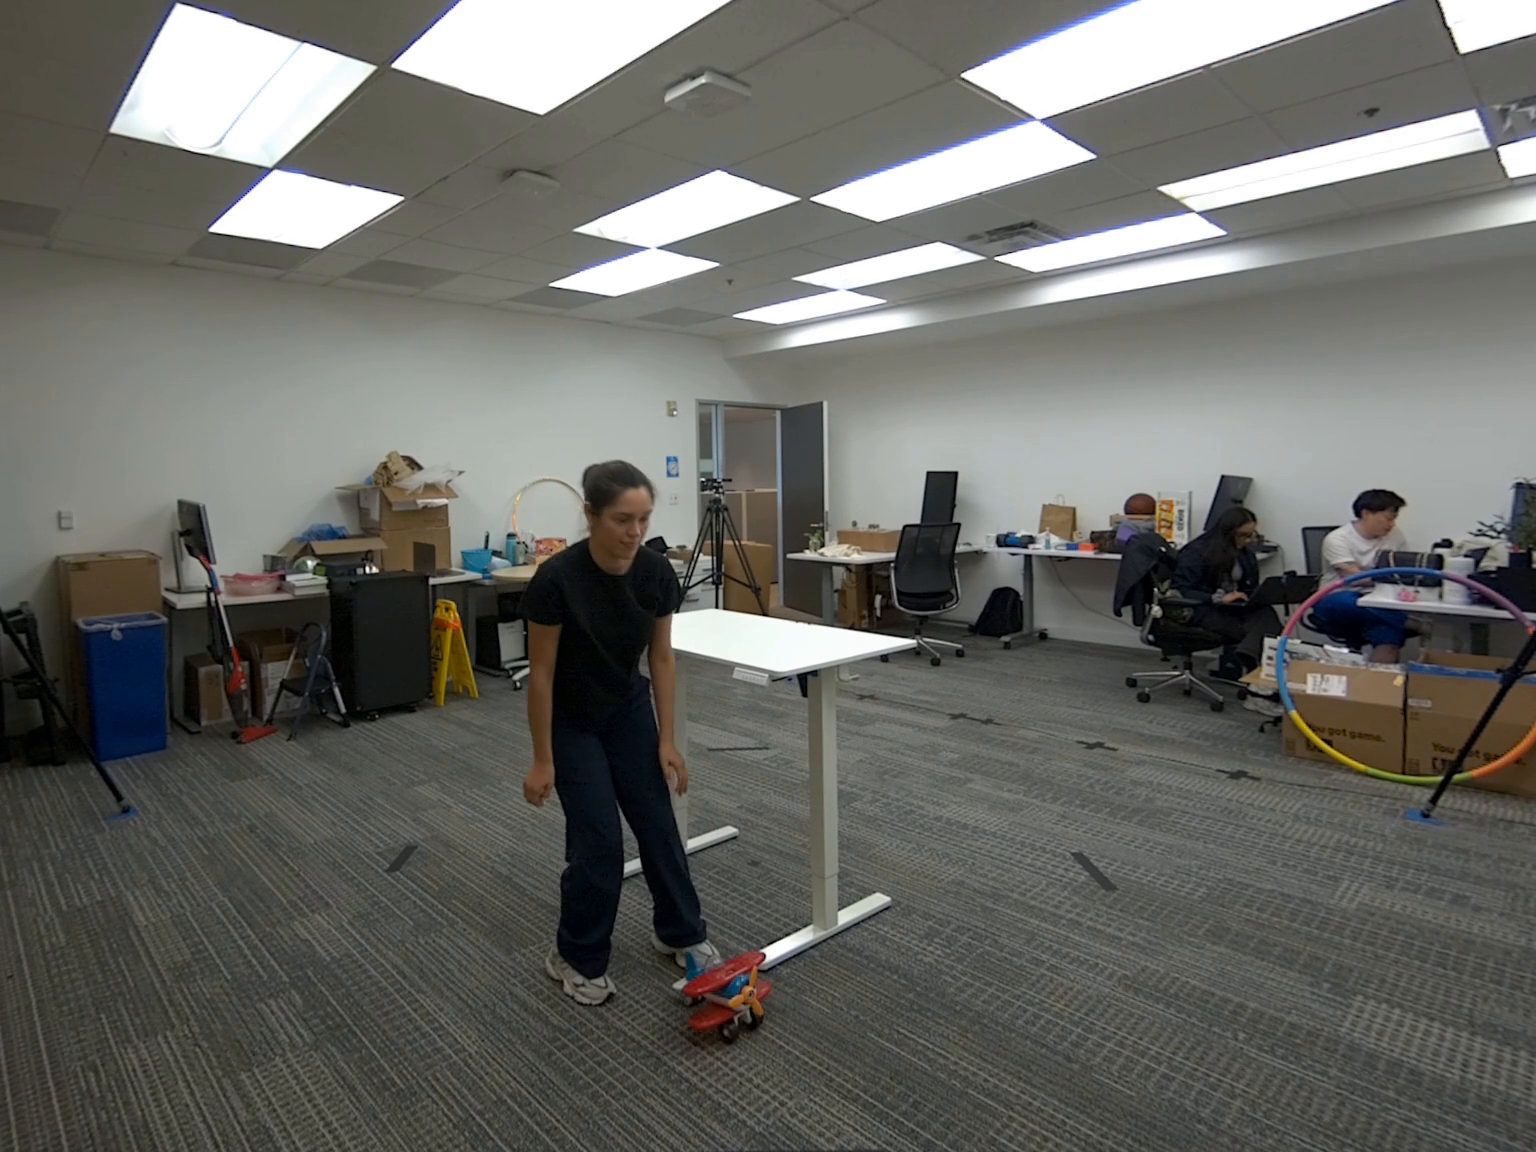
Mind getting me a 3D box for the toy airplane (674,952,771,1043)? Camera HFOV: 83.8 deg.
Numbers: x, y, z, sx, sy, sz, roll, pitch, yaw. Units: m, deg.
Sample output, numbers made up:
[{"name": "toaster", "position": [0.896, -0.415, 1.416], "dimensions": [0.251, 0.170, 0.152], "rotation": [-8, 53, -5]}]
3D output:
[{"name": "toy airplane", "position": [-0.137, 1.076, 2.206], "dimensions": [0.264, 0.155, 0.247], "rotation": [3, 7, 20]}]
